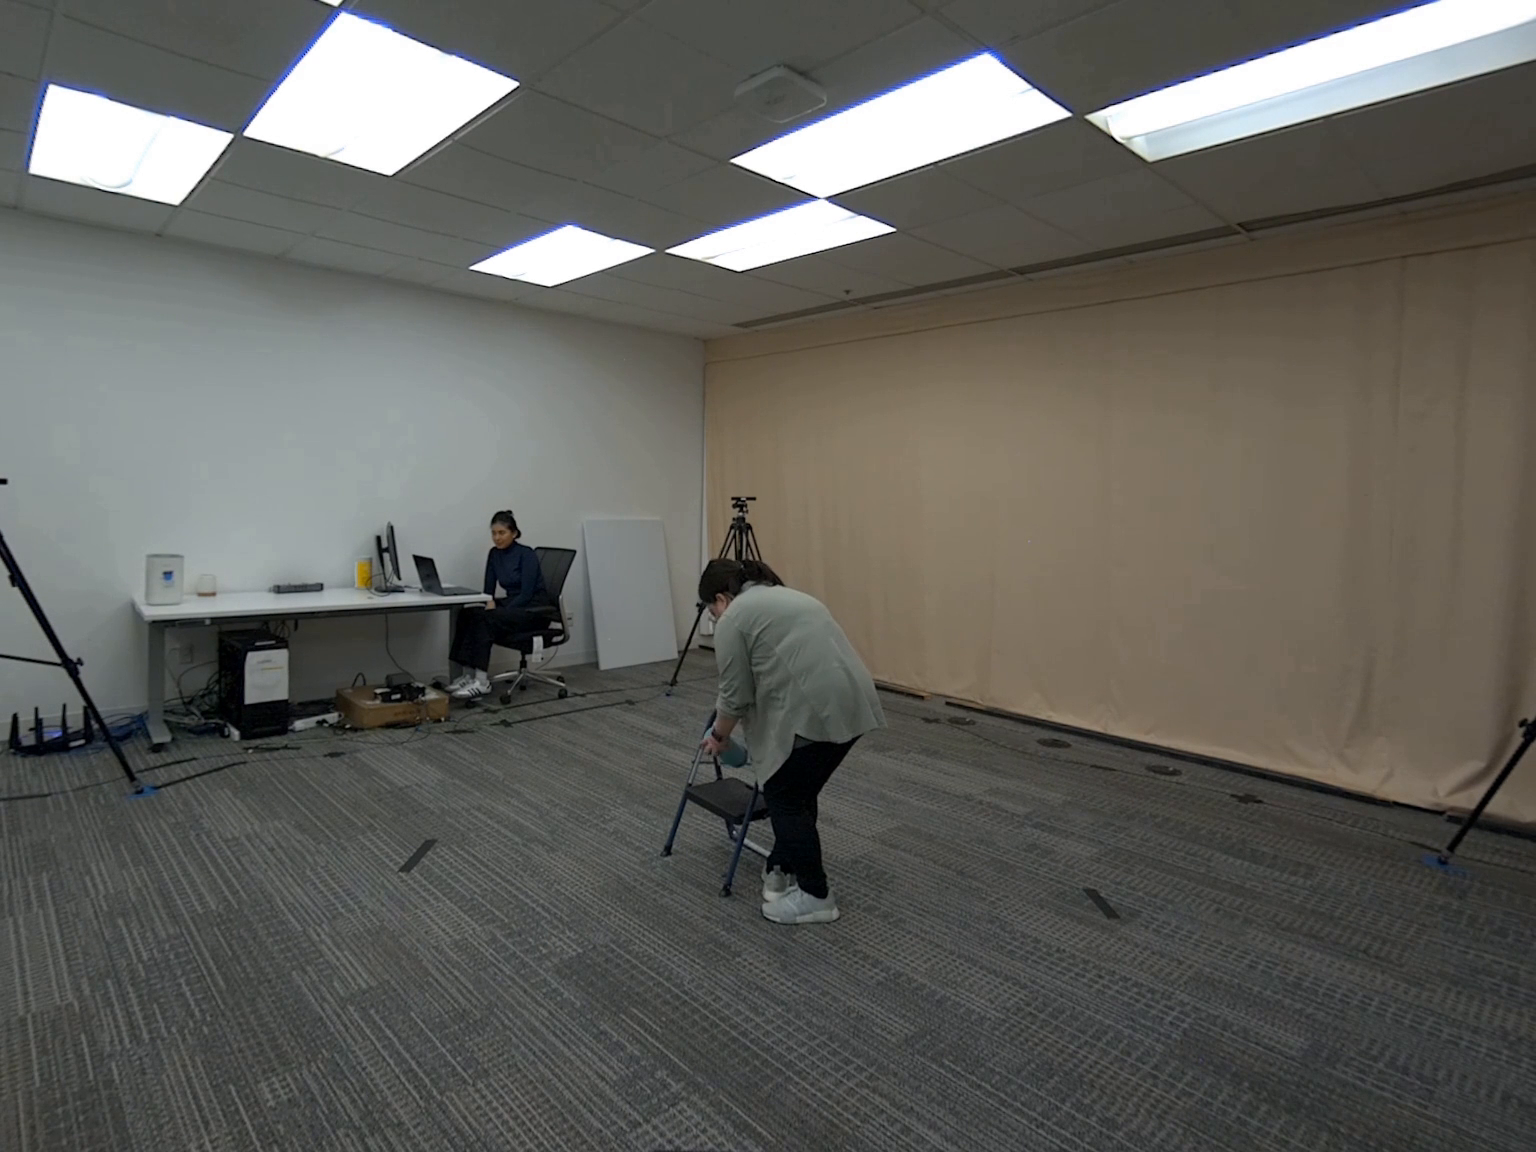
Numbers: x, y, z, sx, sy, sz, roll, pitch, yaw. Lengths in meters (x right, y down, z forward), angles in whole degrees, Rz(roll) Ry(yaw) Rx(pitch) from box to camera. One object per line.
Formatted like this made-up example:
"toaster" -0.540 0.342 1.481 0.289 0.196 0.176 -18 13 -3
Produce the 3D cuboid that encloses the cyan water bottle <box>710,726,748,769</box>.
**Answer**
"cyan water bottle" -0.150 0.644 3.130 0.094 0.093 0.275 3 -26 20
